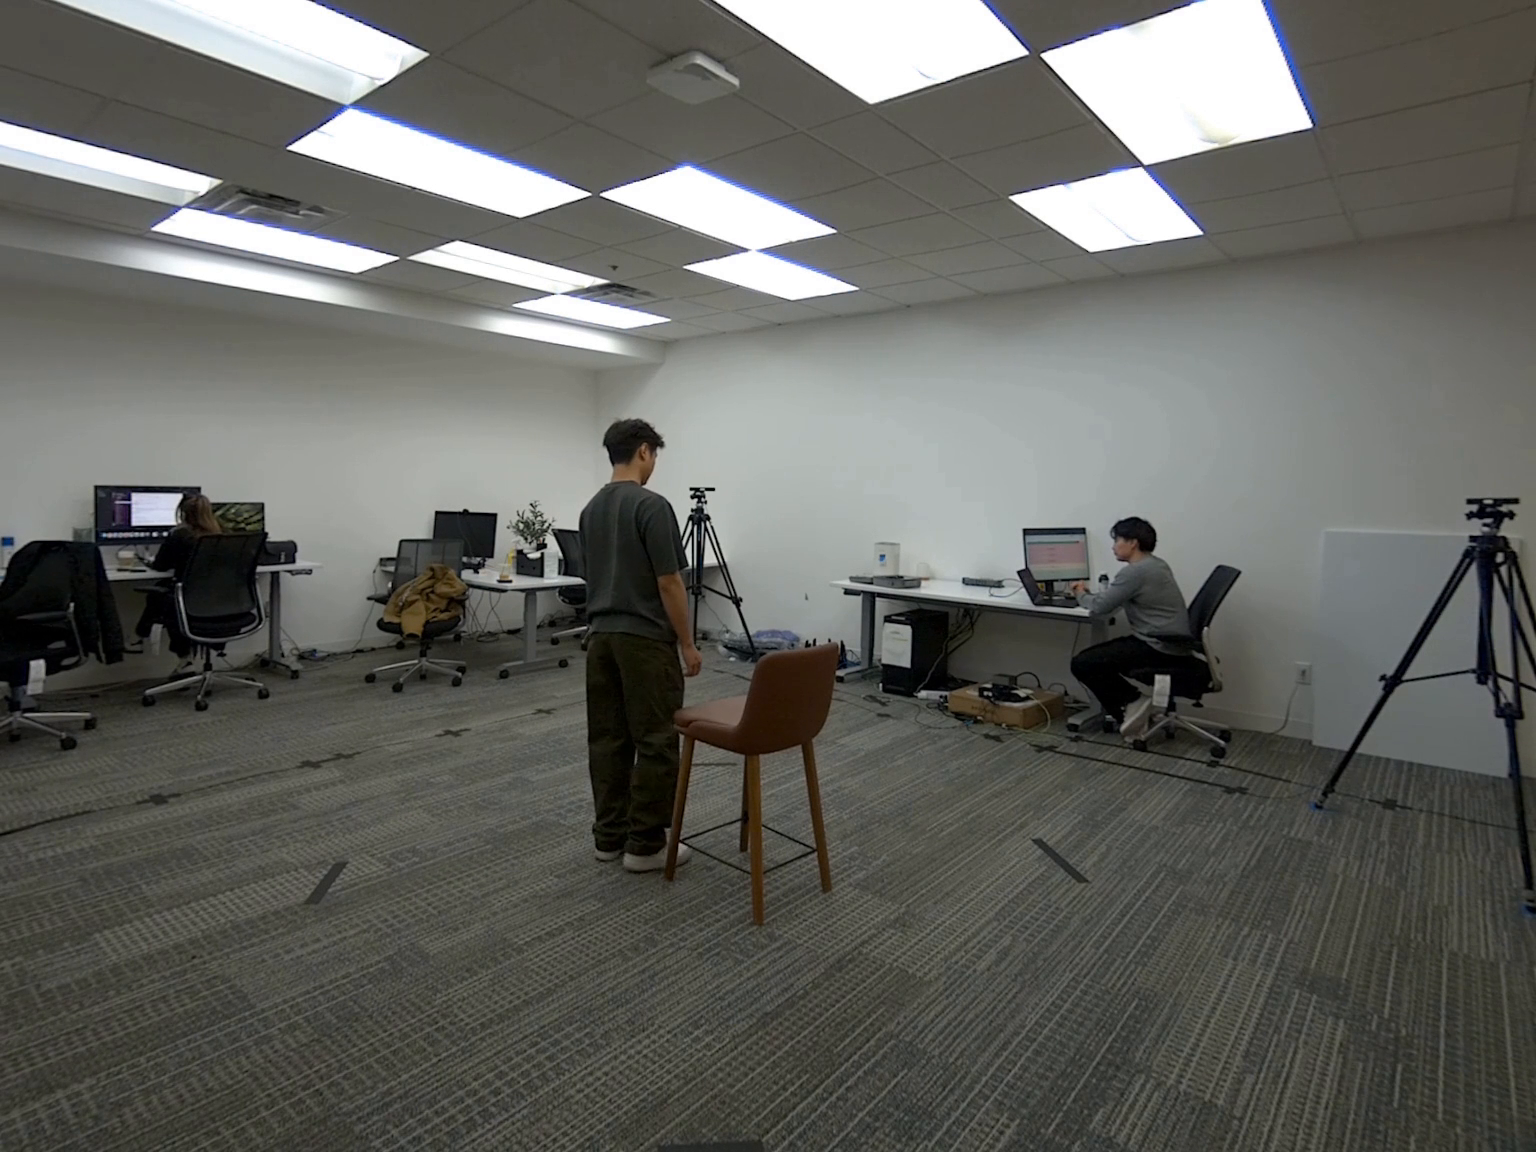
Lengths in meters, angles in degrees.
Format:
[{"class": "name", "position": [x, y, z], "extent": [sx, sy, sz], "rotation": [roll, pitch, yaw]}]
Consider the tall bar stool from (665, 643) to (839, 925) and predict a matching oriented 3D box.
[{"class": "tall bar stool", "position": [-0.060, 0.647, 2.962], "extent": [0.484, 0.886, 0.442], "rotation": [7, 6, 44]}]
